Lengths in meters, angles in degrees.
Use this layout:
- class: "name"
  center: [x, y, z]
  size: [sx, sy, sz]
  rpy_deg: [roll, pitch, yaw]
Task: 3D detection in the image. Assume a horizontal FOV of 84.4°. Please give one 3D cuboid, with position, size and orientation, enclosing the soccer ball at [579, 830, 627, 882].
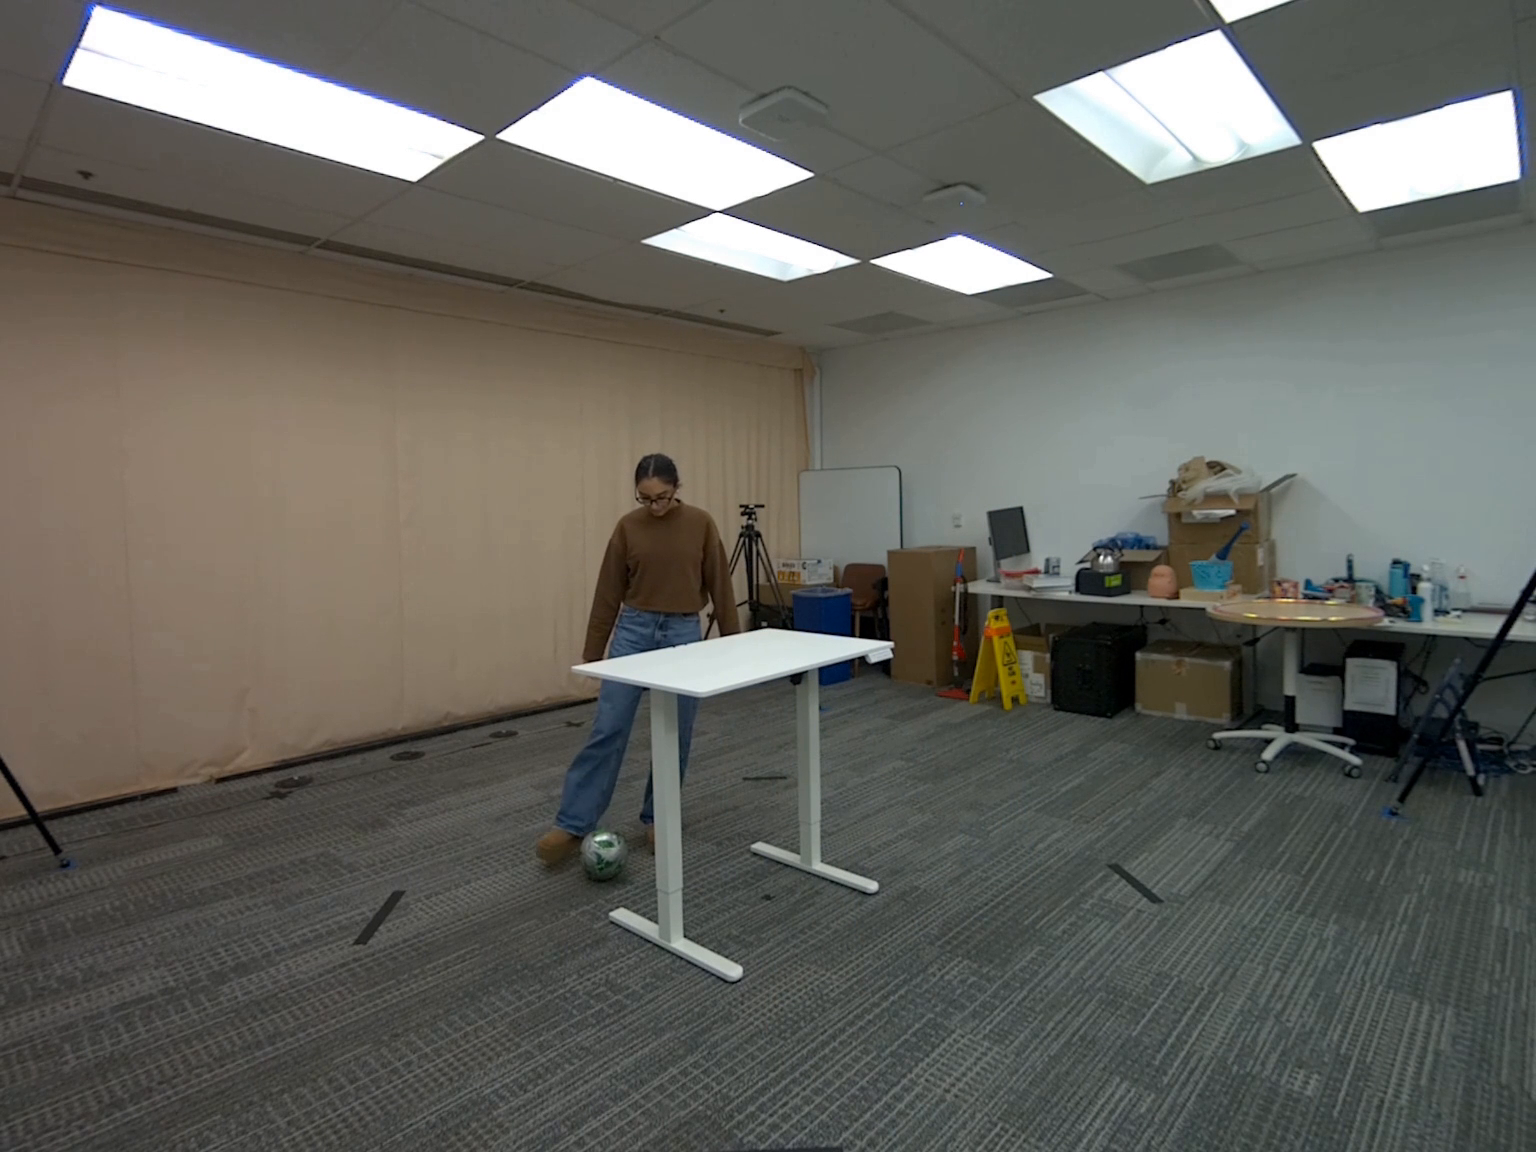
- class: "soccer ball"
  center: [-0.618, 1.054, 3.168]
  size: [0.187, 0.187, 0.188]
  rpy_deg: [-1, 4, -2]
